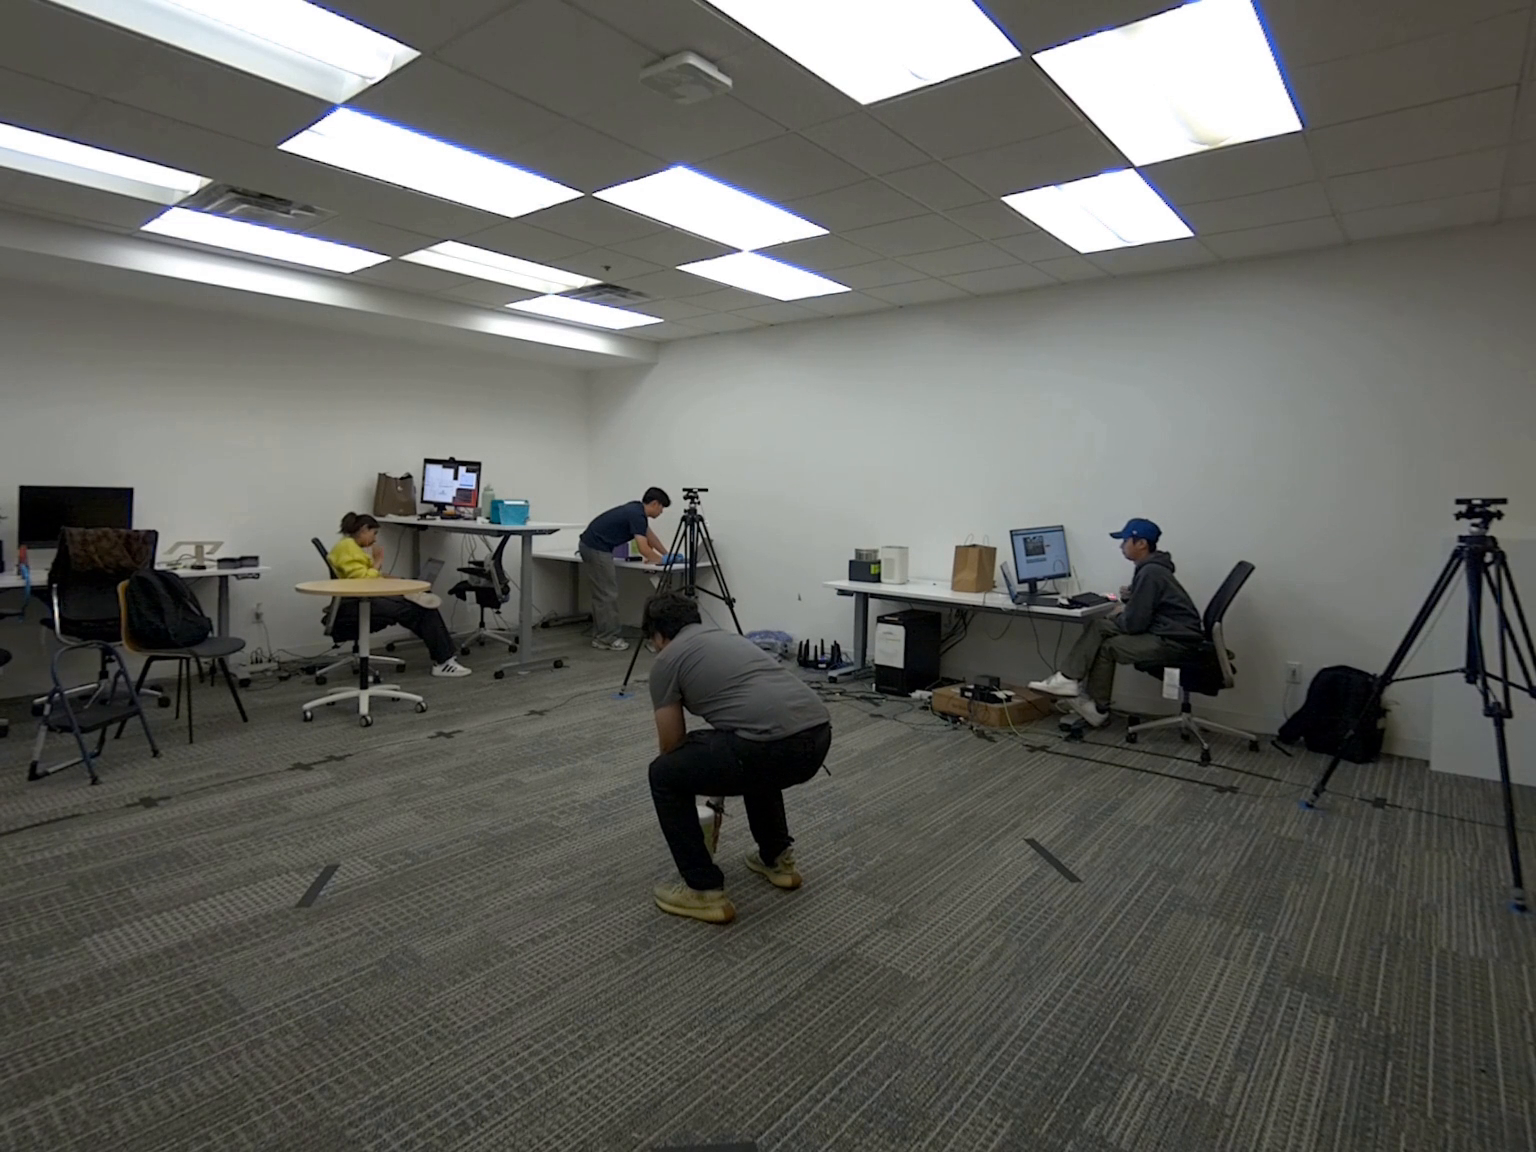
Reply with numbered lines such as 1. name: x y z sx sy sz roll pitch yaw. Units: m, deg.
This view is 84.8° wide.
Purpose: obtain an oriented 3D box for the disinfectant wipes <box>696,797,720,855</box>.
1. disinfectant wipes: -0.258 0.956 3.109 0.118 0.217 0.118 1 4 -2
